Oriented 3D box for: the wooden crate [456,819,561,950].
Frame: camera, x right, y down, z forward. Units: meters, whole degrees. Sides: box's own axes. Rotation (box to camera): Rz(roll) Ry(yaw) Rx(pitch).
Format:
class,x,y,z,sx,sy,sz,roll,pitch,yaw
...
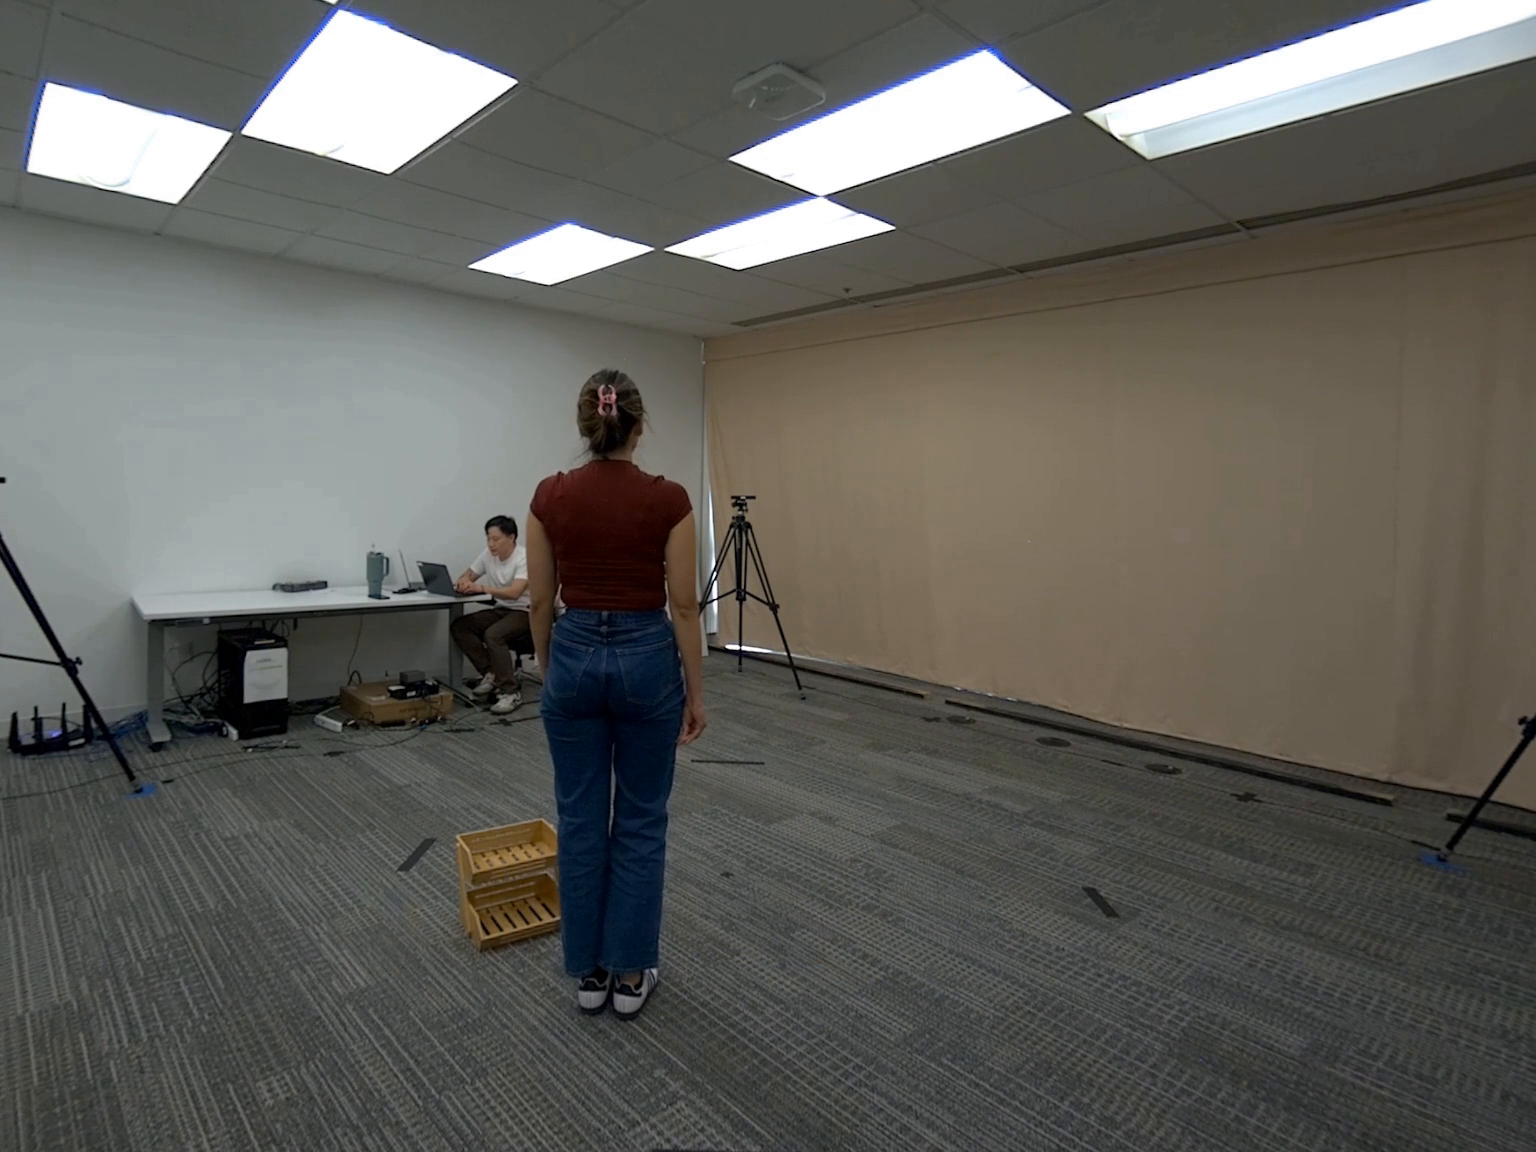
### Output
class,x,y,z,sx,sy,sz,roll,pitch,yaw
wooden crate,-0.828,0.990,2.725,0.317,0.272,0.309,-1,5,-35
